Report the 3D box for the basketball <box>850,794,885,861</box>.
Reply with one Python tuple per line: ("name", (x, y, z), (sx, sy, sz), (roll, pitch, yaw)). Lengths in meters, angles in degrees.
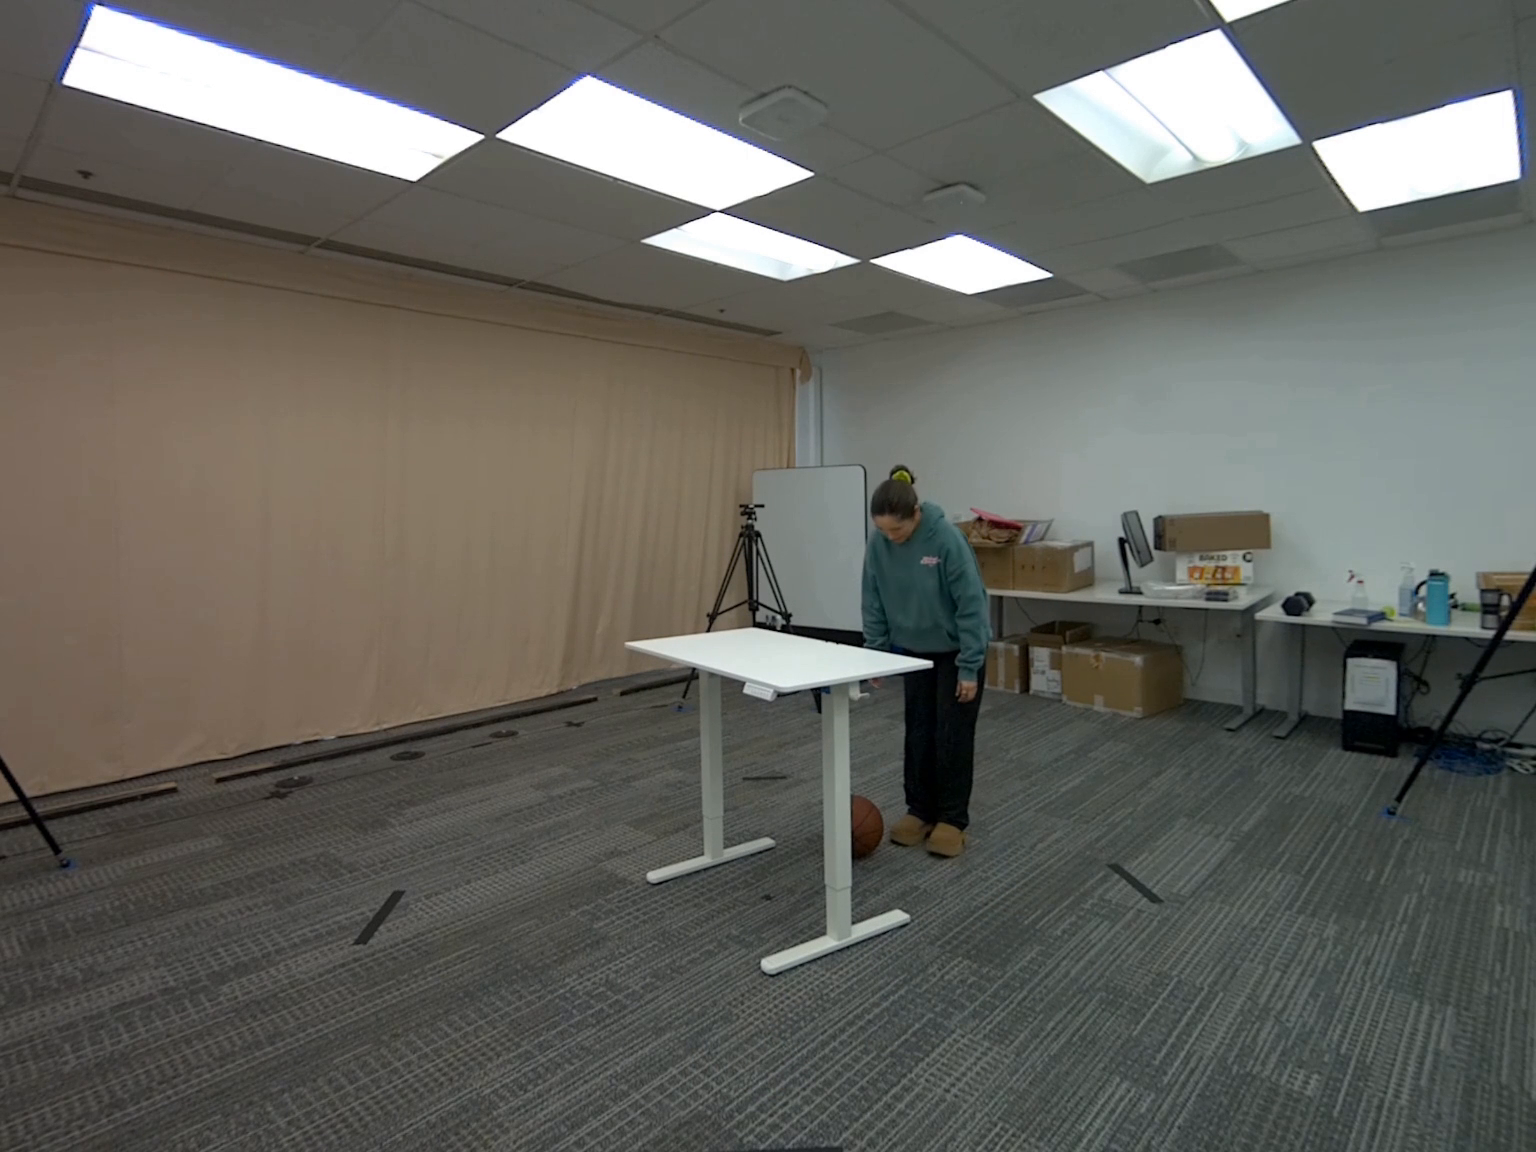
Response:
("basketball", (0.348, 0.990, 3.326), (0.236, 0.235, 0.237), (-1, 4, -2))
